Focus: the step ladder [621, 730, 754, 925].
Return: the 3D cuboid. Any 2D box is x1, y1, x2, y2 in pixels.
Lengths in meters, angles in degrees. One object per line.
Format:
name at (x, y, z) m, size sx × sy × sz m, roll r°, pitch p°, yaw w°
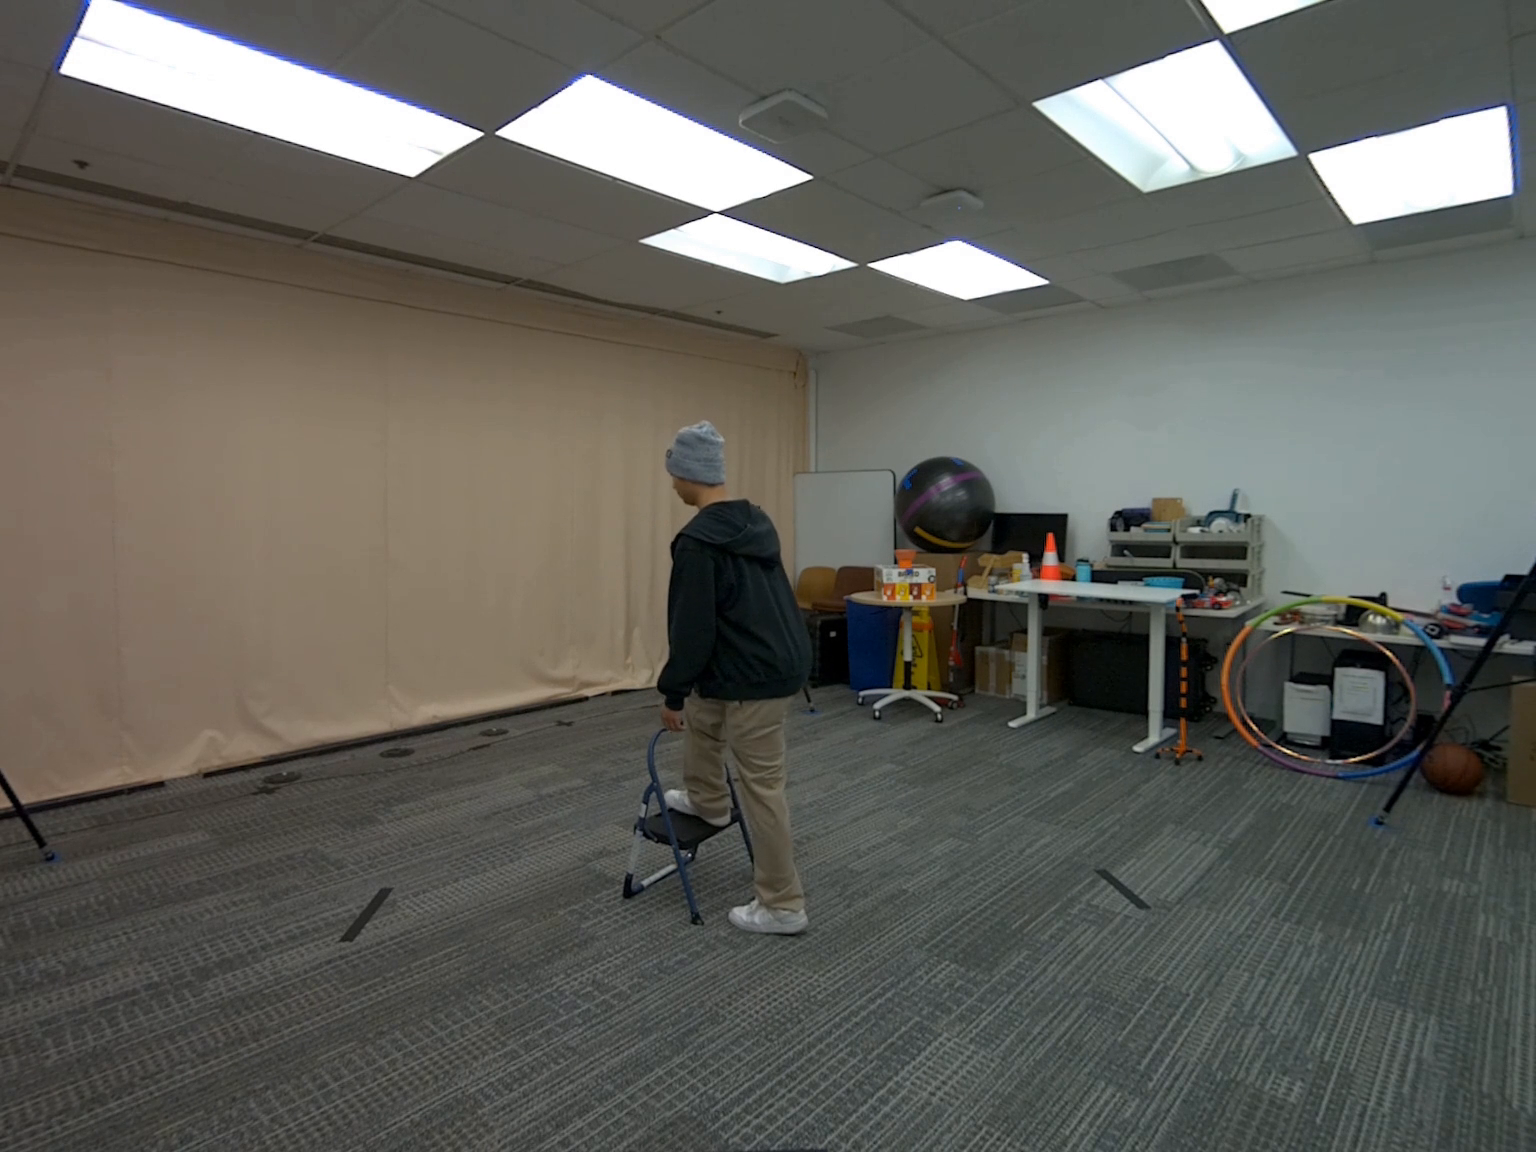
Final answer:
step ladder at (-0.270, 0.838, 3.055) m, size 0.360 × 0.605 × 0.419 m, roll 2°, pitch 3°, yaw 32°
